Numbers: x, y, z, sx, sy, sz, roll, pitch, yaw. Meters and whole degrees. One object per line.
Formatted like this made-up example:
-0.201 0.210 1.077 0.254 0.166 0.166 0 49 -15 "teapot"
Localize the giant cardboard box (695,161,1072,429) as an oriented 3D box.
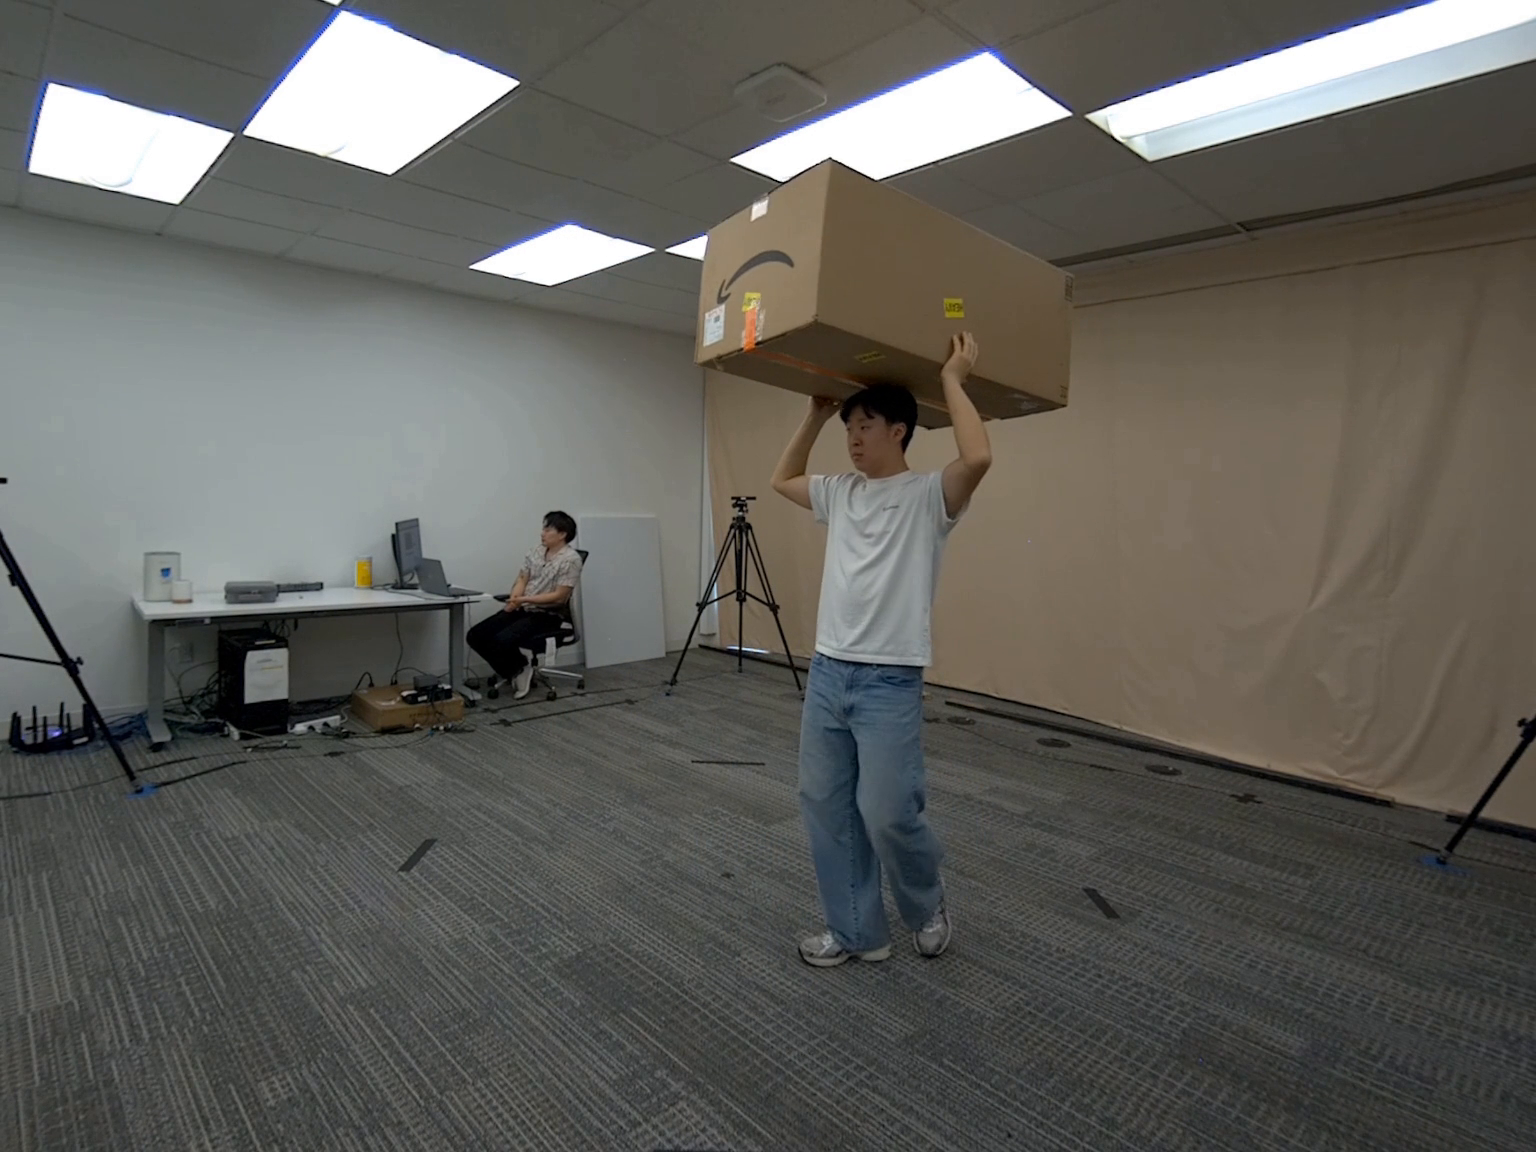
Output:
0.367 -0.777 2.577 1.000 0.427 0.590 7 -4 -35 "giant cardboard box"
